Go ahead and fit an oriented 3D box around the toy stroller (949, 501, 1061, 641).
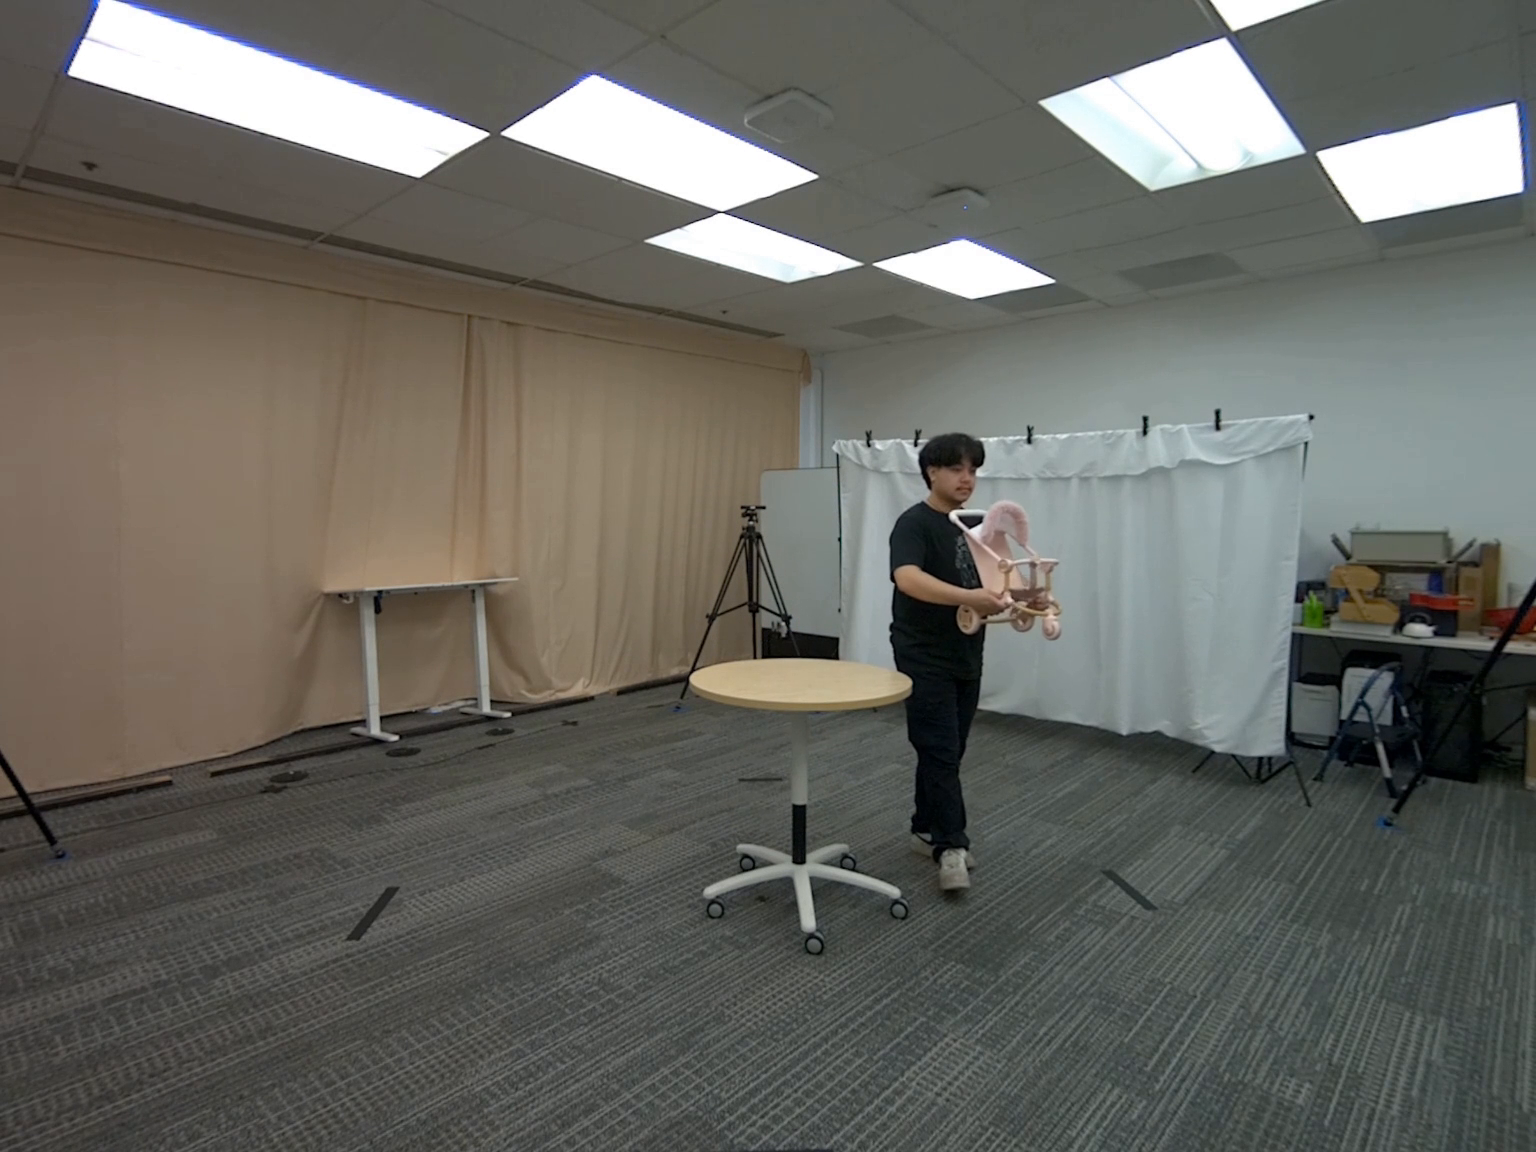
[{"bbox_3d":[0.838,-0.019,2.923,0.275,0.540,0.345,0,-14,-22],"label":"toy stroller"}]
